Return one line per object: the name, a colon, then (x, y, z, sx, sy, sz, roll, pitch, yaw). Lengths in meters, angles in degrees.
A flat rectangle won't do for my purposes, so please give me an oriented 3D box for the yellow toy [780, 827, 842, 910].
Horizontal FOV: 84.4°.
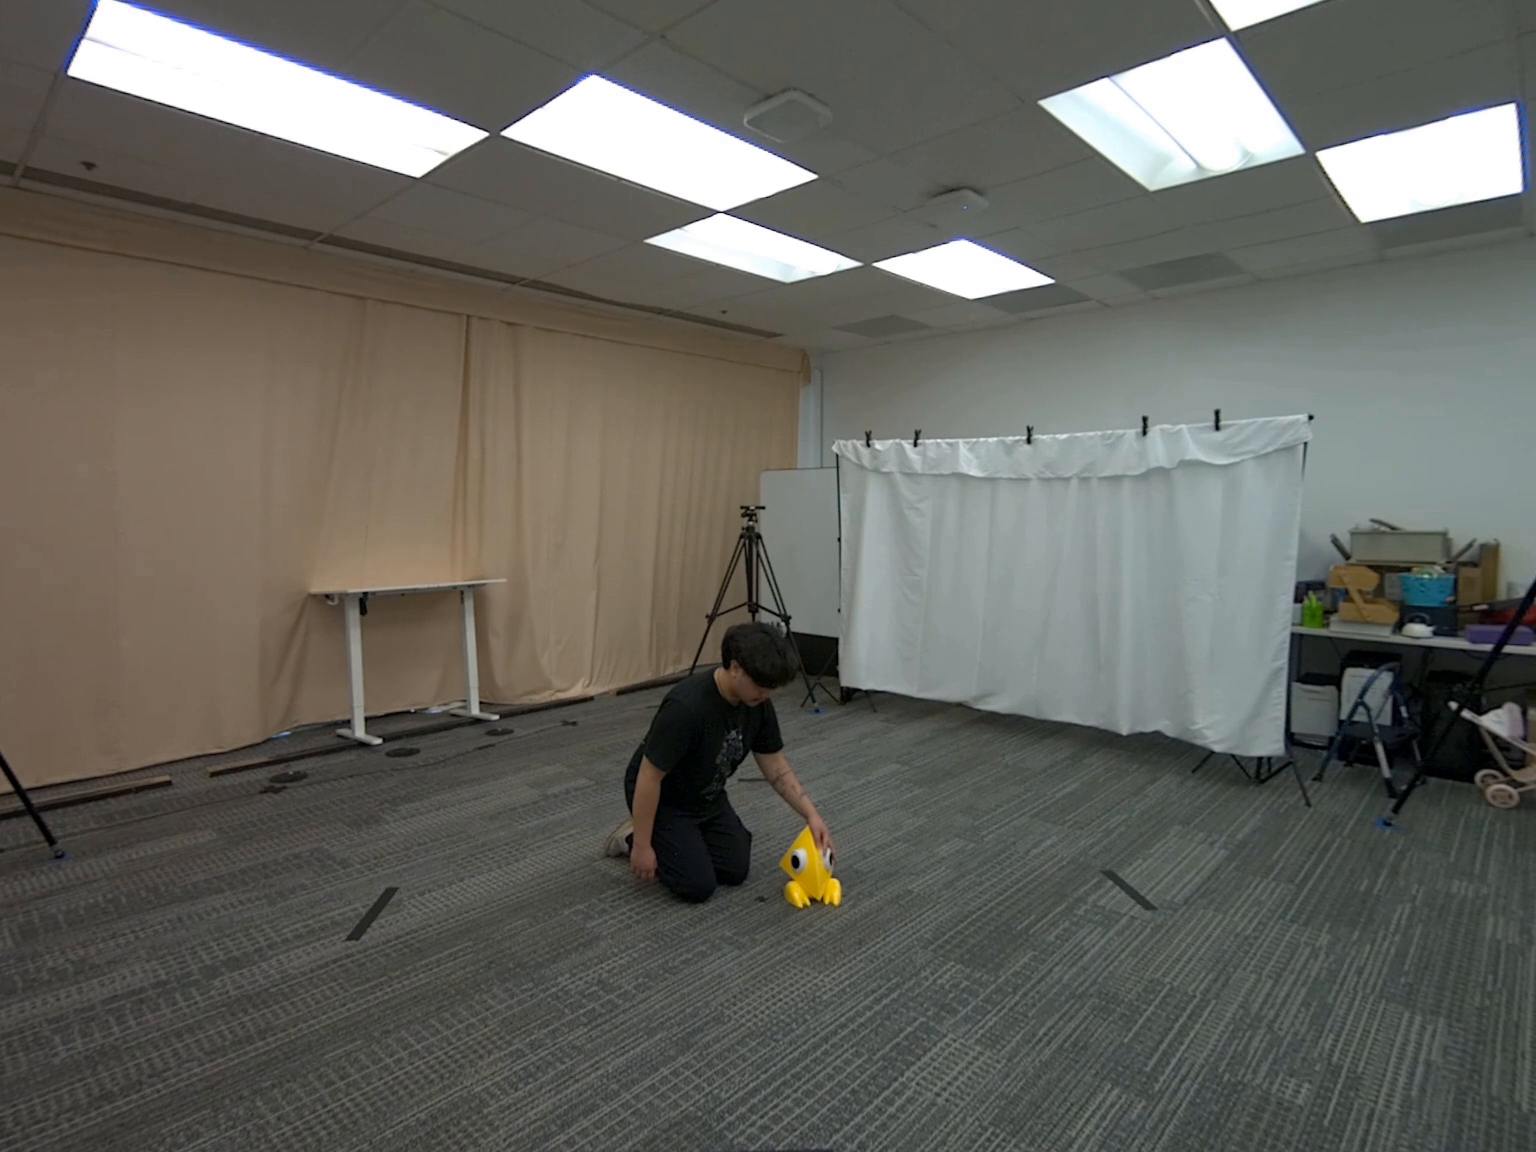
yellow toy: (0.161, 1.034, 2.990, 0.203, 0.230, 0.195, 0, 6, -8)
